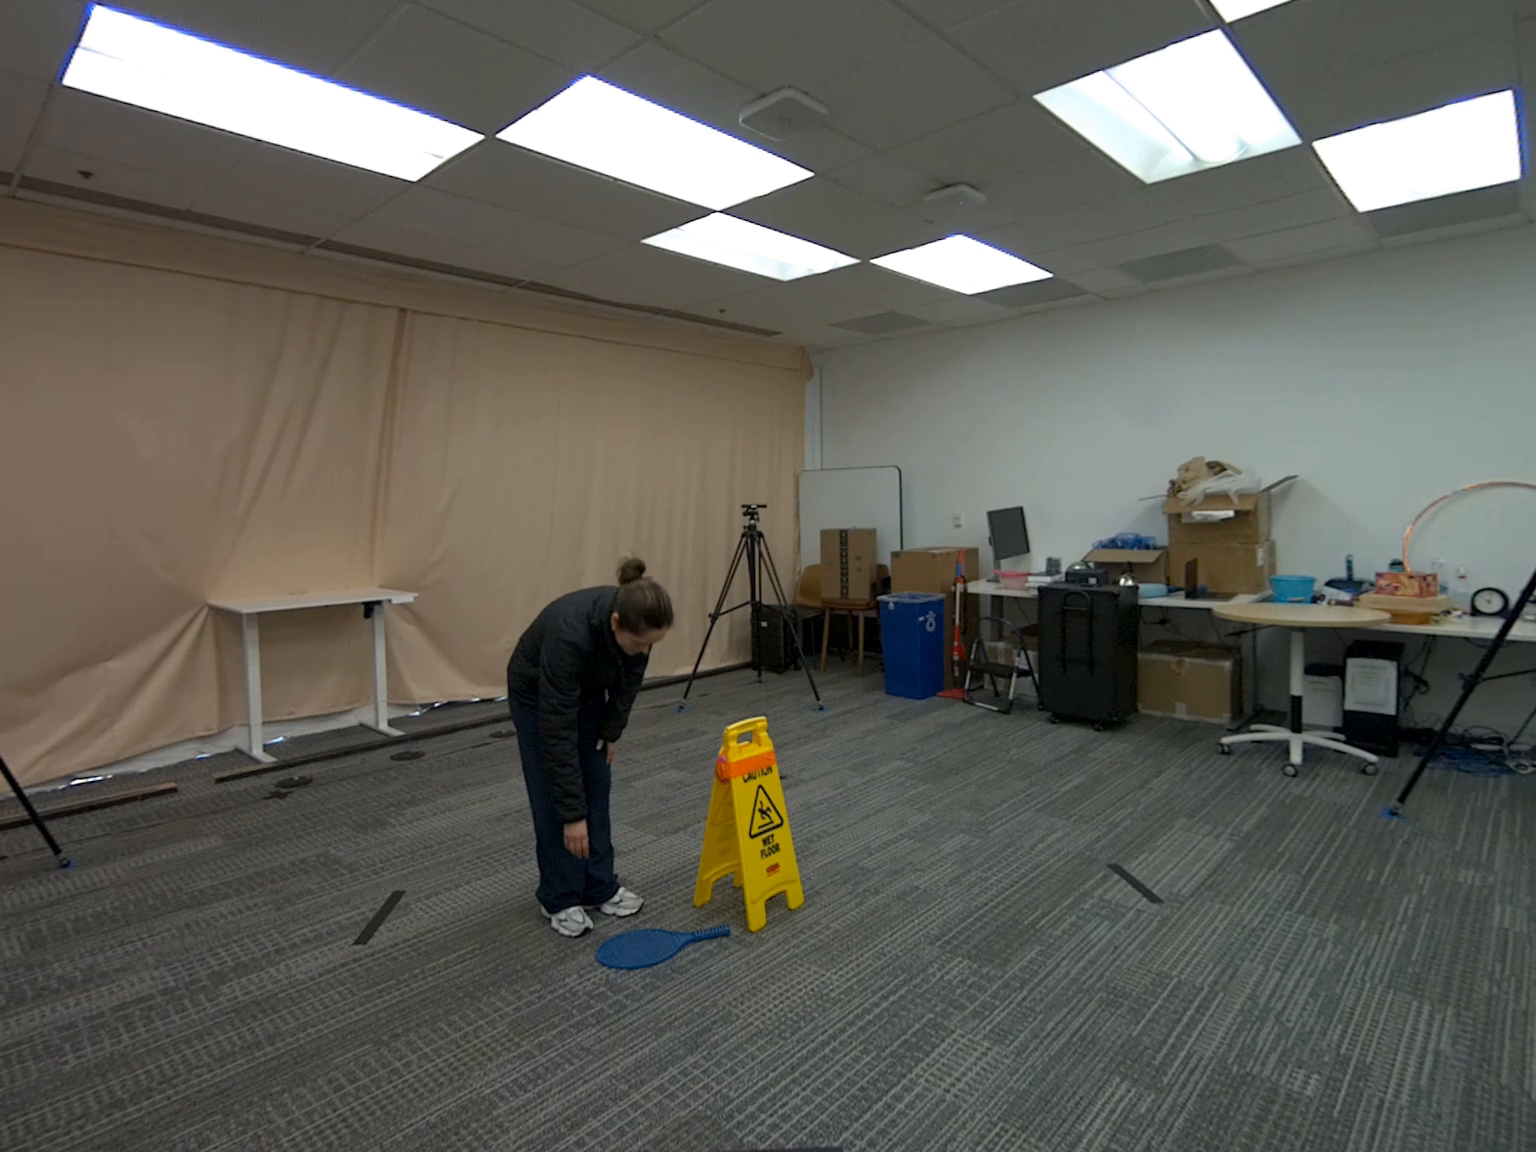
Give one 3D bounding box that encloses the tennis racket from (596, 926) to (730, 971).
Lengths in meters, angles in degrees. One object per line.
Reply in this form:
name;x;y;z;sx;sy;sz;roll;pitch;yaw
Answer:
tennis racket;-0.308;1.155;2.666;0.426;0.031;0.218;-4;7;-16
